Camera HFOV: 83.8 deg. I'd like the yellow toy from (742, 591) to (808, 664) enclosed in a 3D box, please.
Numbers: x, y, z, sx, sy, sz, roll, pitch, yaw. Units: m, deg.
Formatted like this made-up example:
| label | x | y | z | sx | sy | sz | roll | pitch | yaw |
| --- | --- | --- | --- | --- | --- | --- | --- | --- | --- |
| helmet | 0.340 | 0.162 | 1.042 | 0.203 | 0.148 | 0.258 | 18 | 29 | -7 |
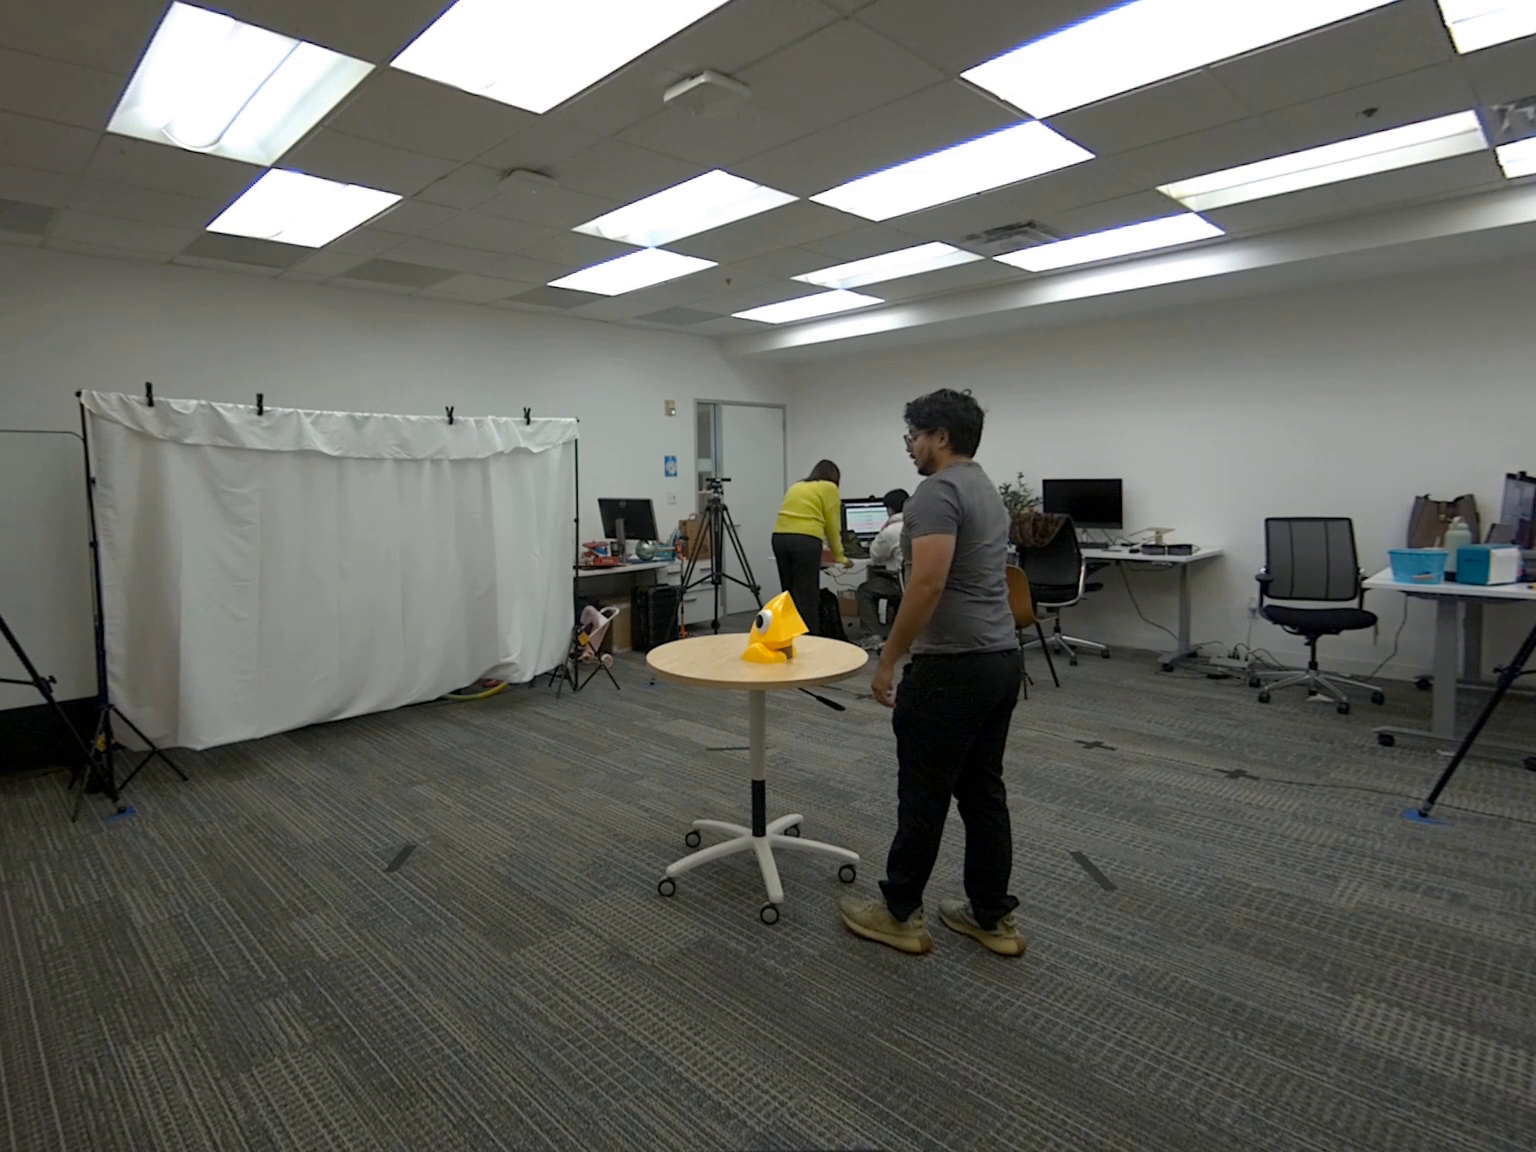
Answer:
| label | x | y | z | sx | sy | sz | roll | pitch | yaw |
| --- | --- | --- | --- | --- | --- | --- | --- | --- | --- |
| yellow toy | 0.014 | 0.163 | 2.927 | 0.198 | 0.230 | 0.200 | 2 | 6 | 29 |
